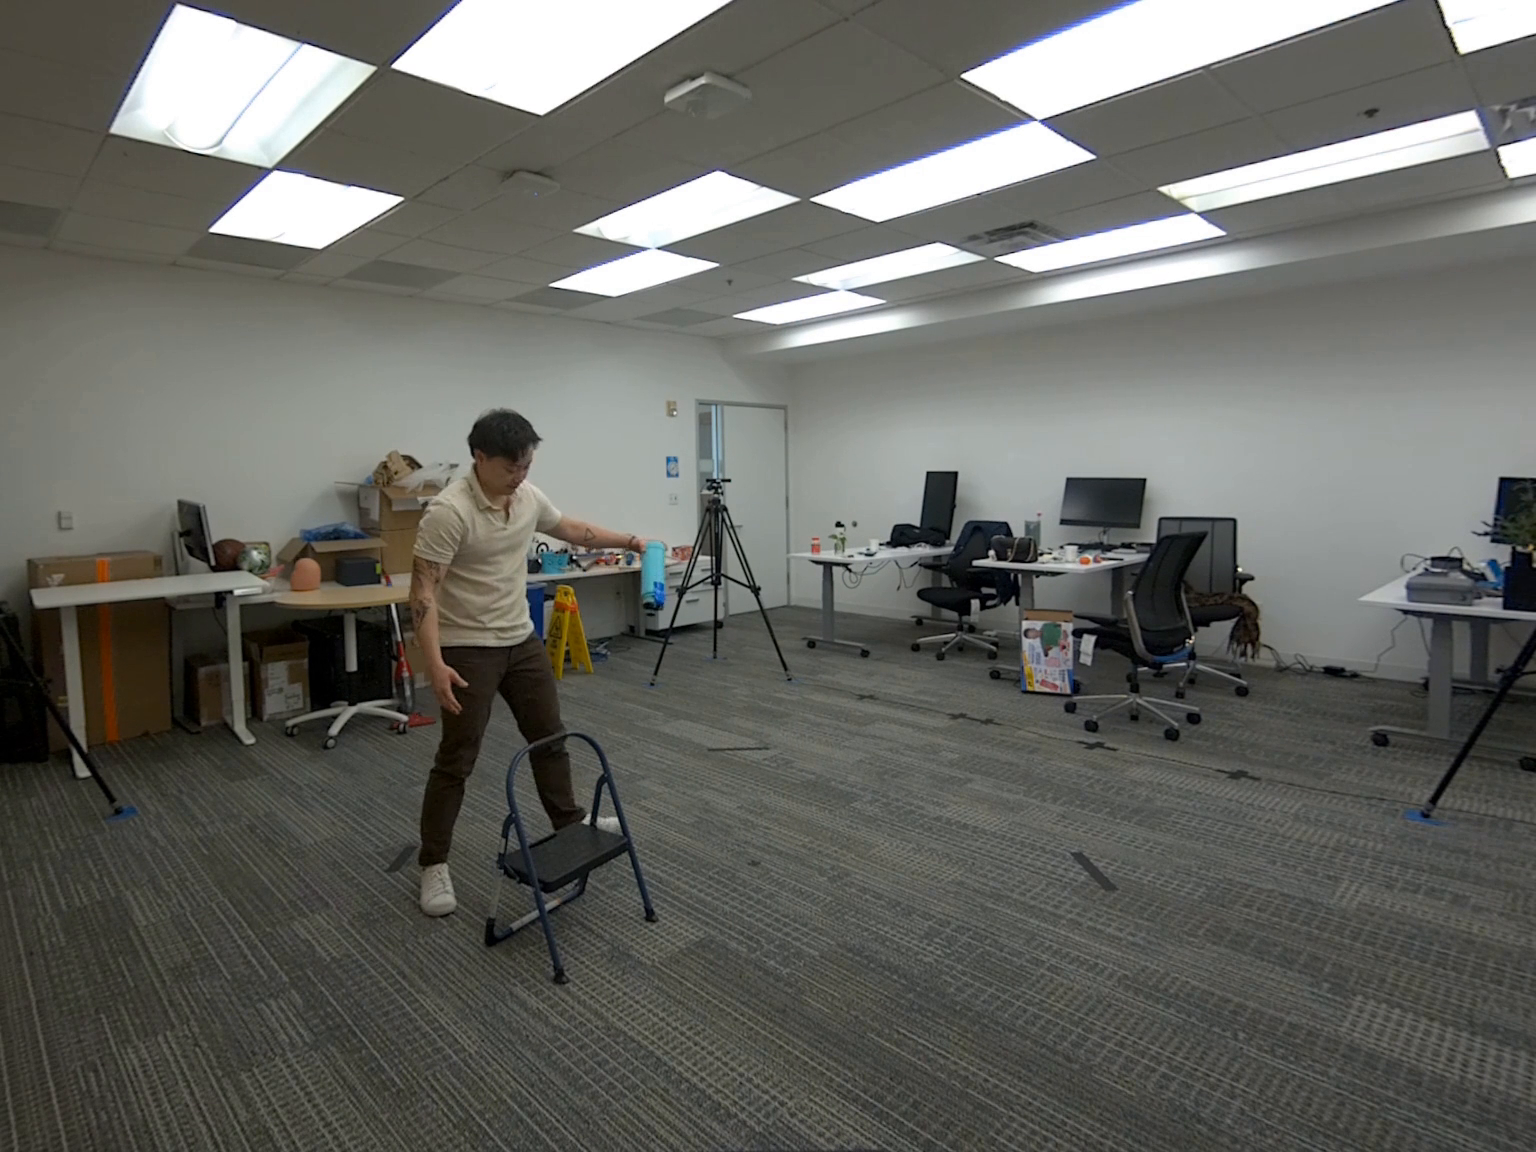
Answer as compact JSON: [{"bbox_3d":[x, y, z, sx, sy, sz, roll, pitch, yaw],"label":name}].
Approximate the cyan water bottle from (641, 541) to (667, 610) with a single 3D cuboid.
[{"bbox_3d":[-0.421,0.018,3.171,0.092,0.291,0.090,-2,-31,-3],"label":"cyan water bottle"}]
